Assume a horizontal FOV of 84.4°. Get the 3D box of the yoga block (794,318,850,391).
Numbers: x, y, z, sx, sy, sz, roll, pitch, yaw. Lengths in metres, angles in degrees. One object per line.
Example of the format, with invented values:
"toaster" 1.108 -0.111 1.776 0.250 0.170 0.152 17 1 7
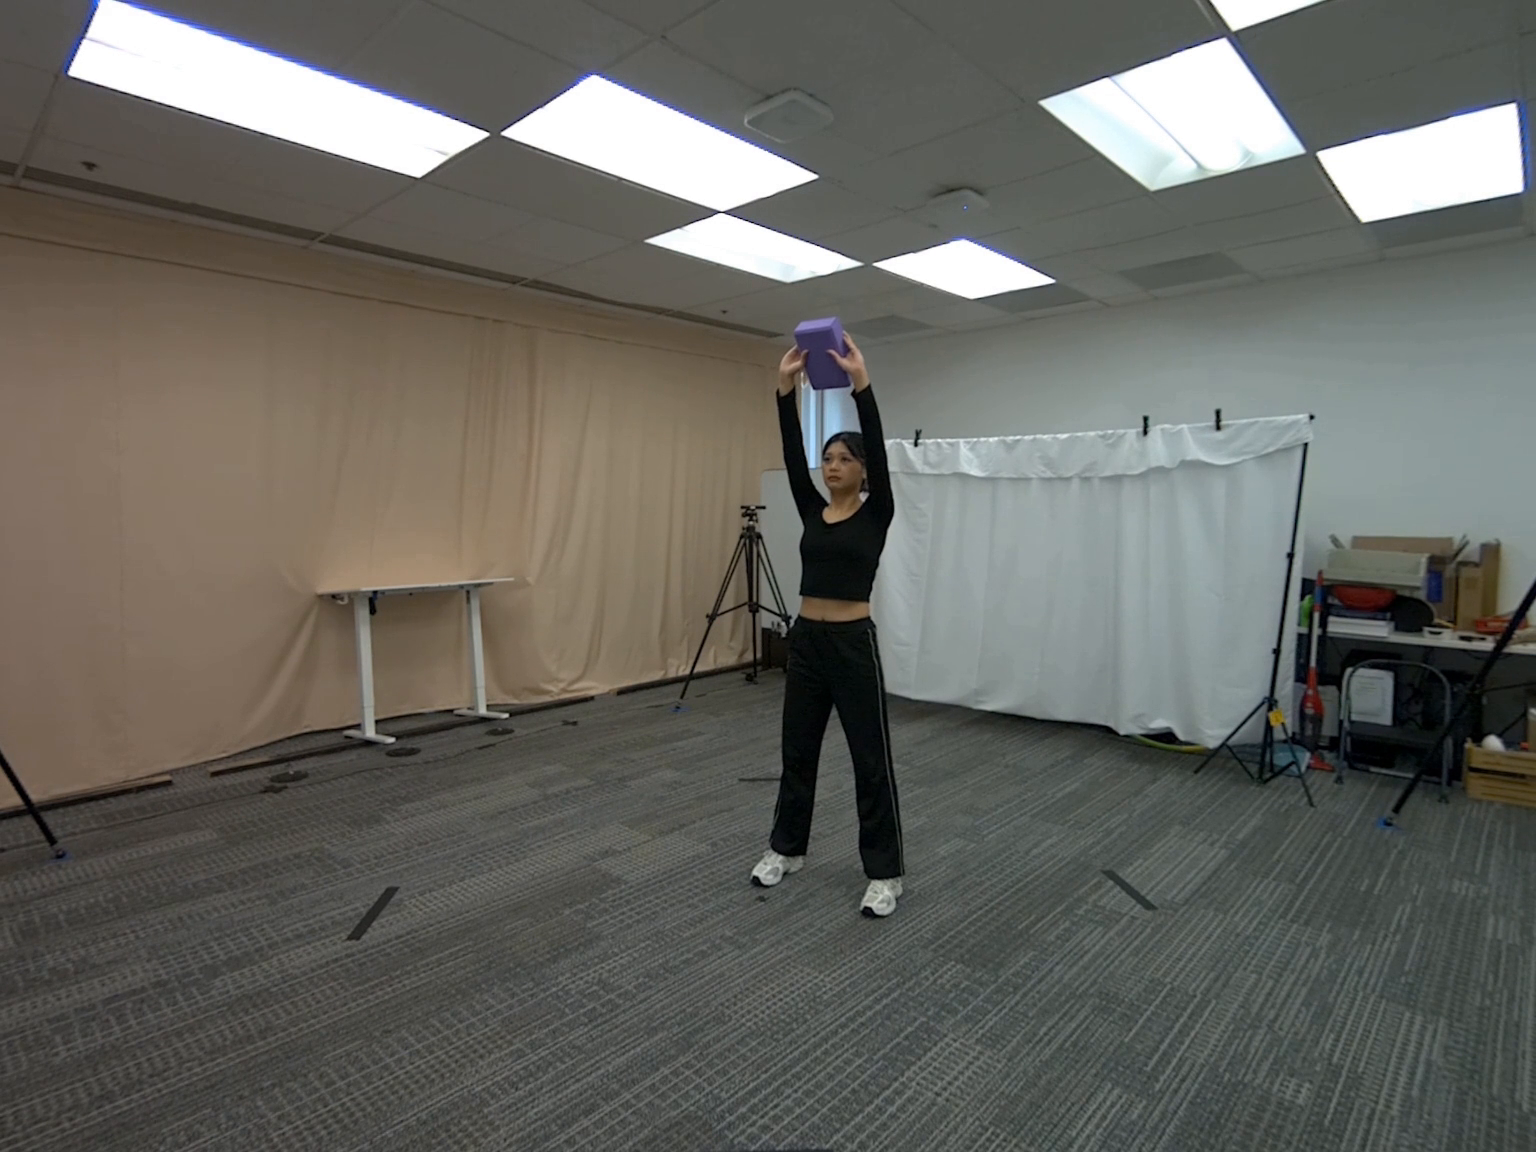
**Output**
"yoga block" 0.194 -0.739 2.813 0.153 0.223 0.076 2 43 32
